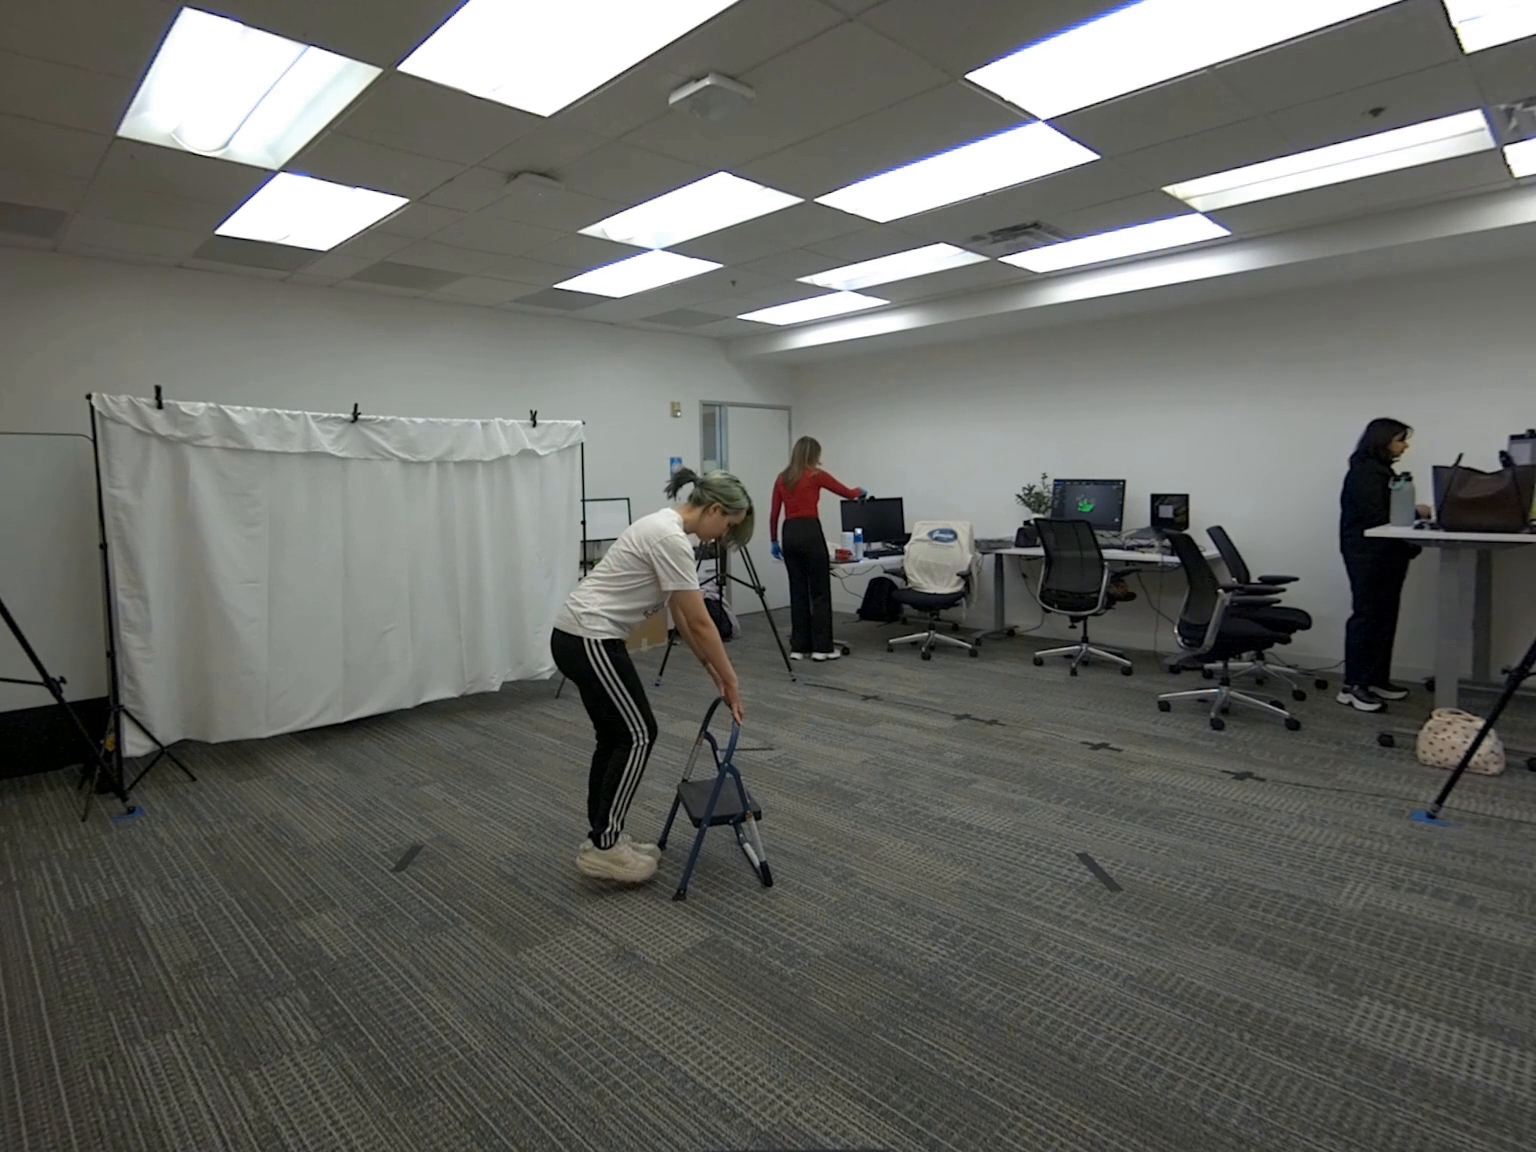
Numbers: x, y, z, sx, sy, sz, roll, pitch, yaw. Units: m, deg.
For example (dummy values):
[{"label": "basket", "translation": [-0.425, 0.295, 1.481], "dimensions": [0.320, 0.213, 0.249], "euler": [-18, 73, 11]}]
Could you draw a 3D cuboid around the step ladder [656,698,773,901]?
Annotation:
[{"label": "step ladder", "translation": [-0.208, 0.753, 3.073], "dimensions": [0.345, 0.603, 0.438], "euler": [-2, 5, -15]}]
